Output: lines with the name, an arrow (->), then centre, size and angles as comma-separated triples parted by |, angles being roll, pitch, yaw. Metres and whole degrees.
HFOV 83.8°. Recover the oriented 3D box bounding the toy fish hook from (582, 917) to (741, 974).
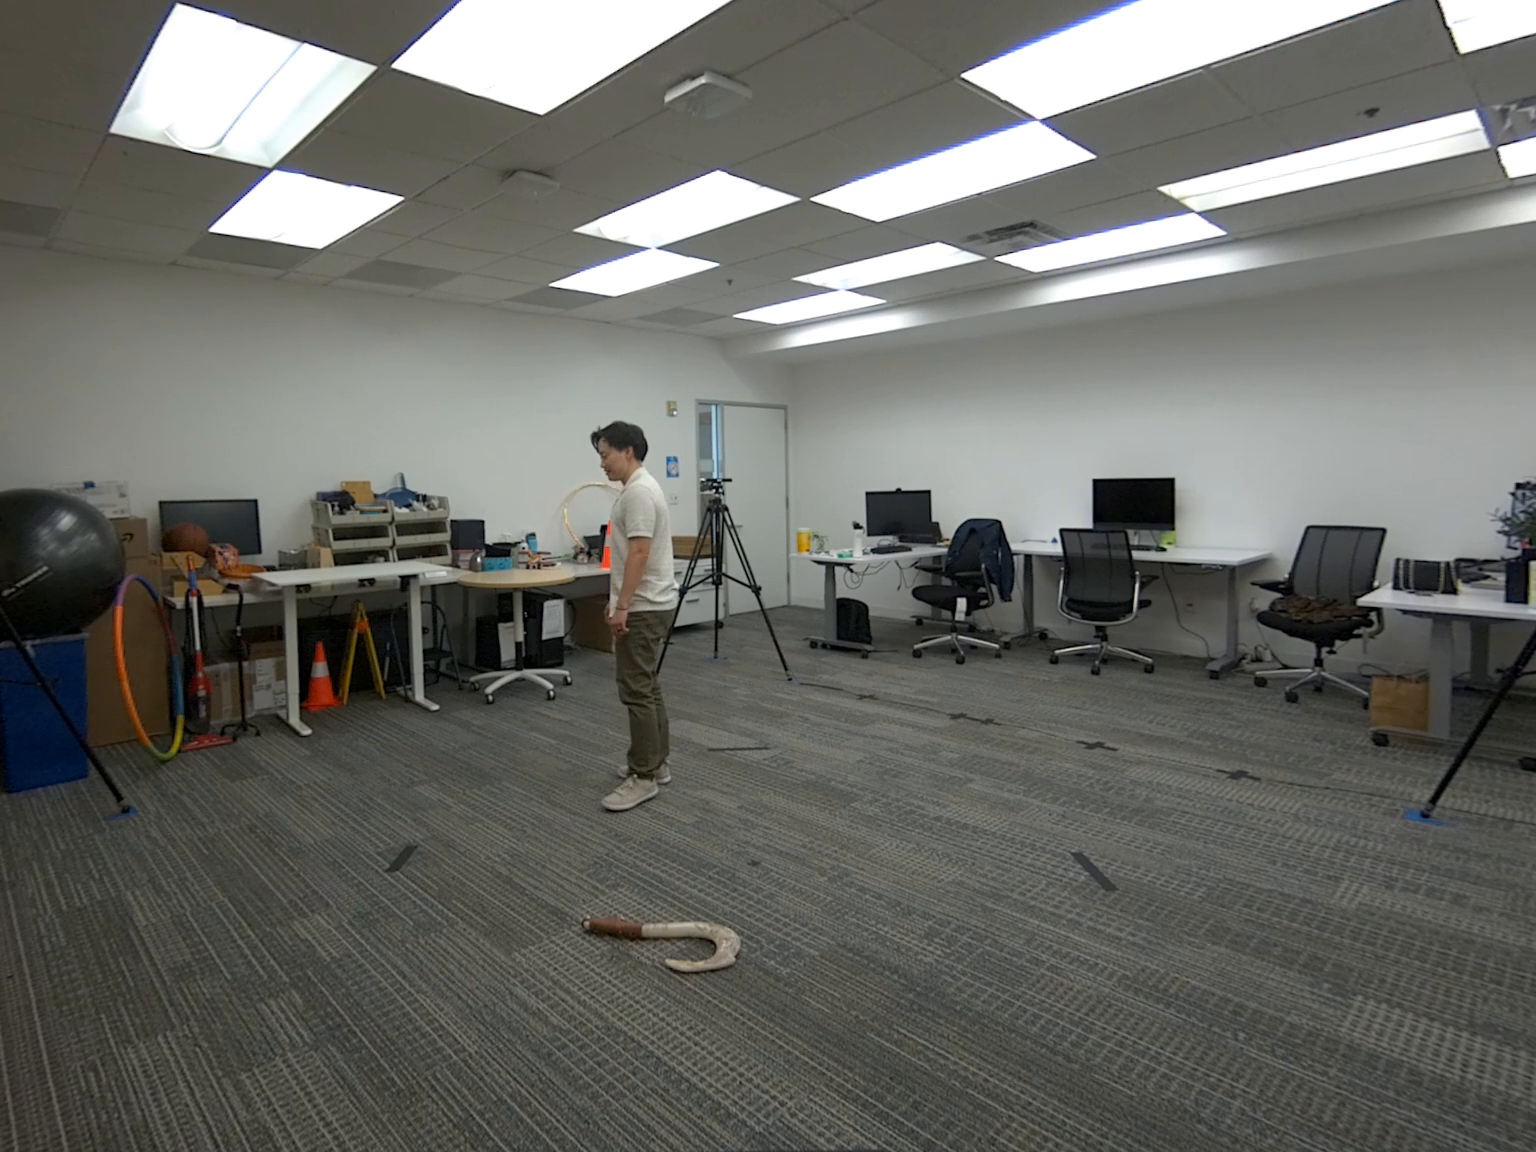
toy fish hook -> -0.335, 1.091, 2.553 | 0.513, 0.048, 0.222 | 0, 6, 13
